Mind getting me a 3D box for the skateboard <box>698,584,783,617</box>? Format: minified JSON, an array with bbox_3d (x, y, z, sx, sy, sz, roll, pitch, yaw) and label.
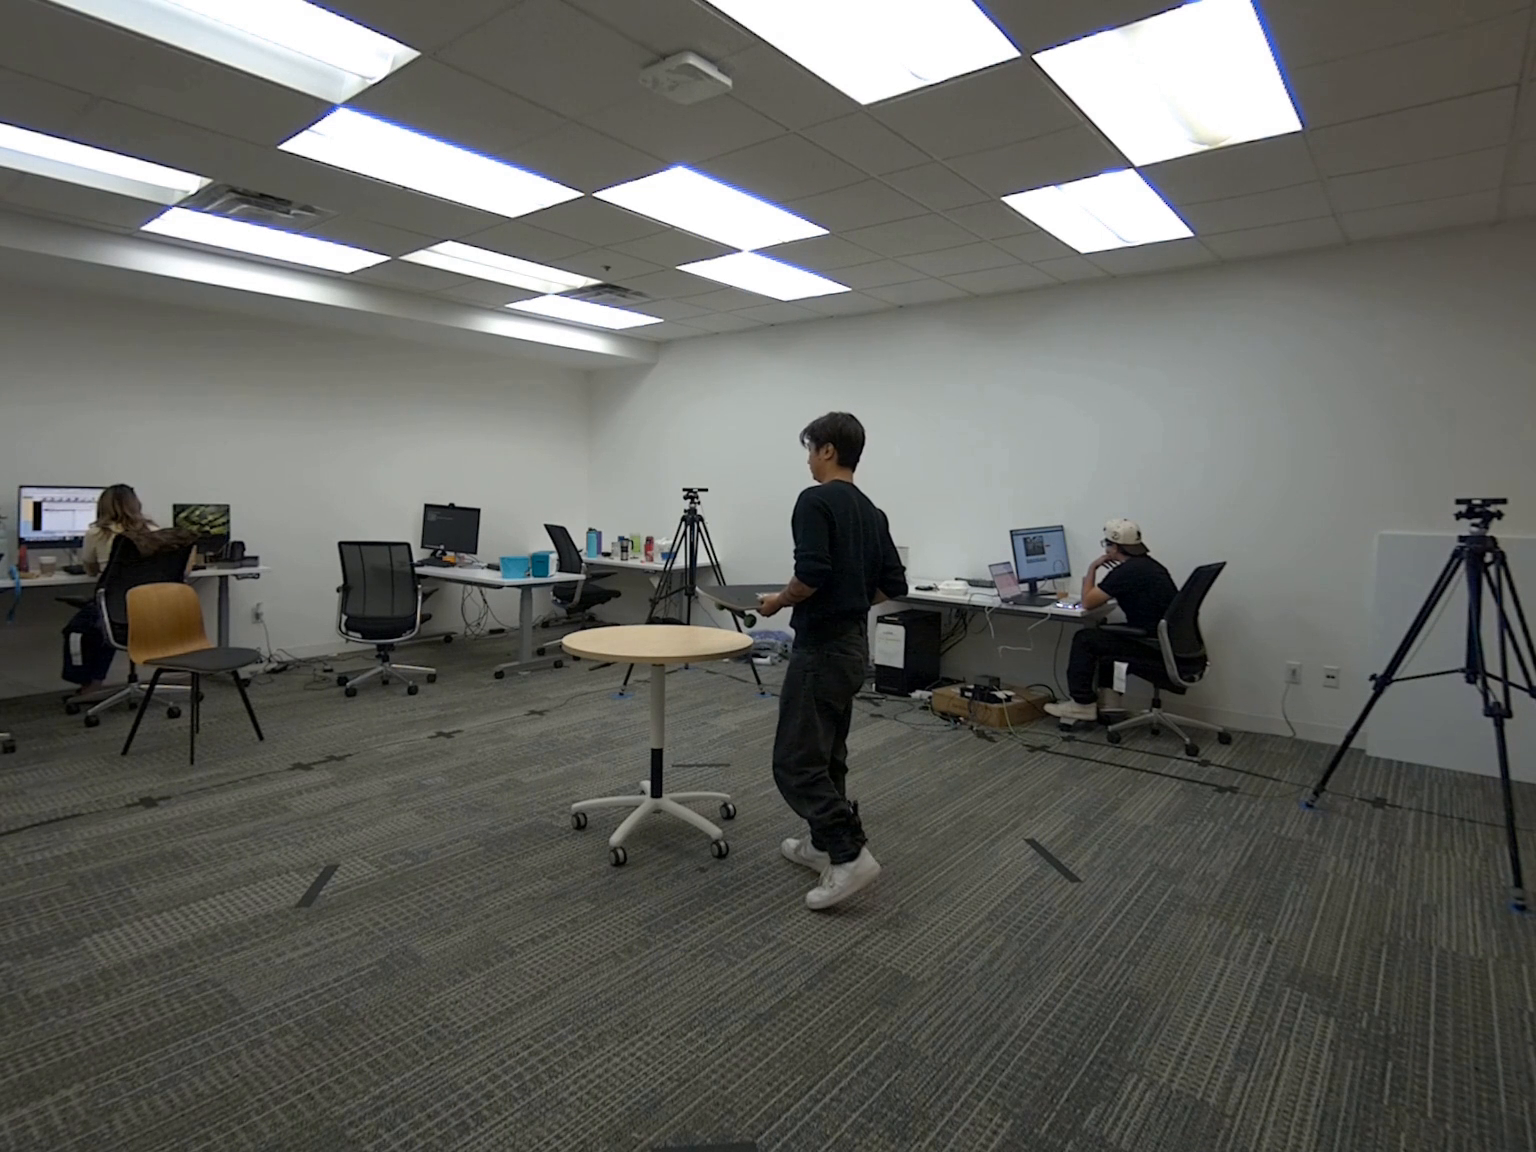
[{"bbox_3d":[0.019,0.106,3.218,0.201,0.109,0.761,28,19,36],"label":"skateboard"}]
